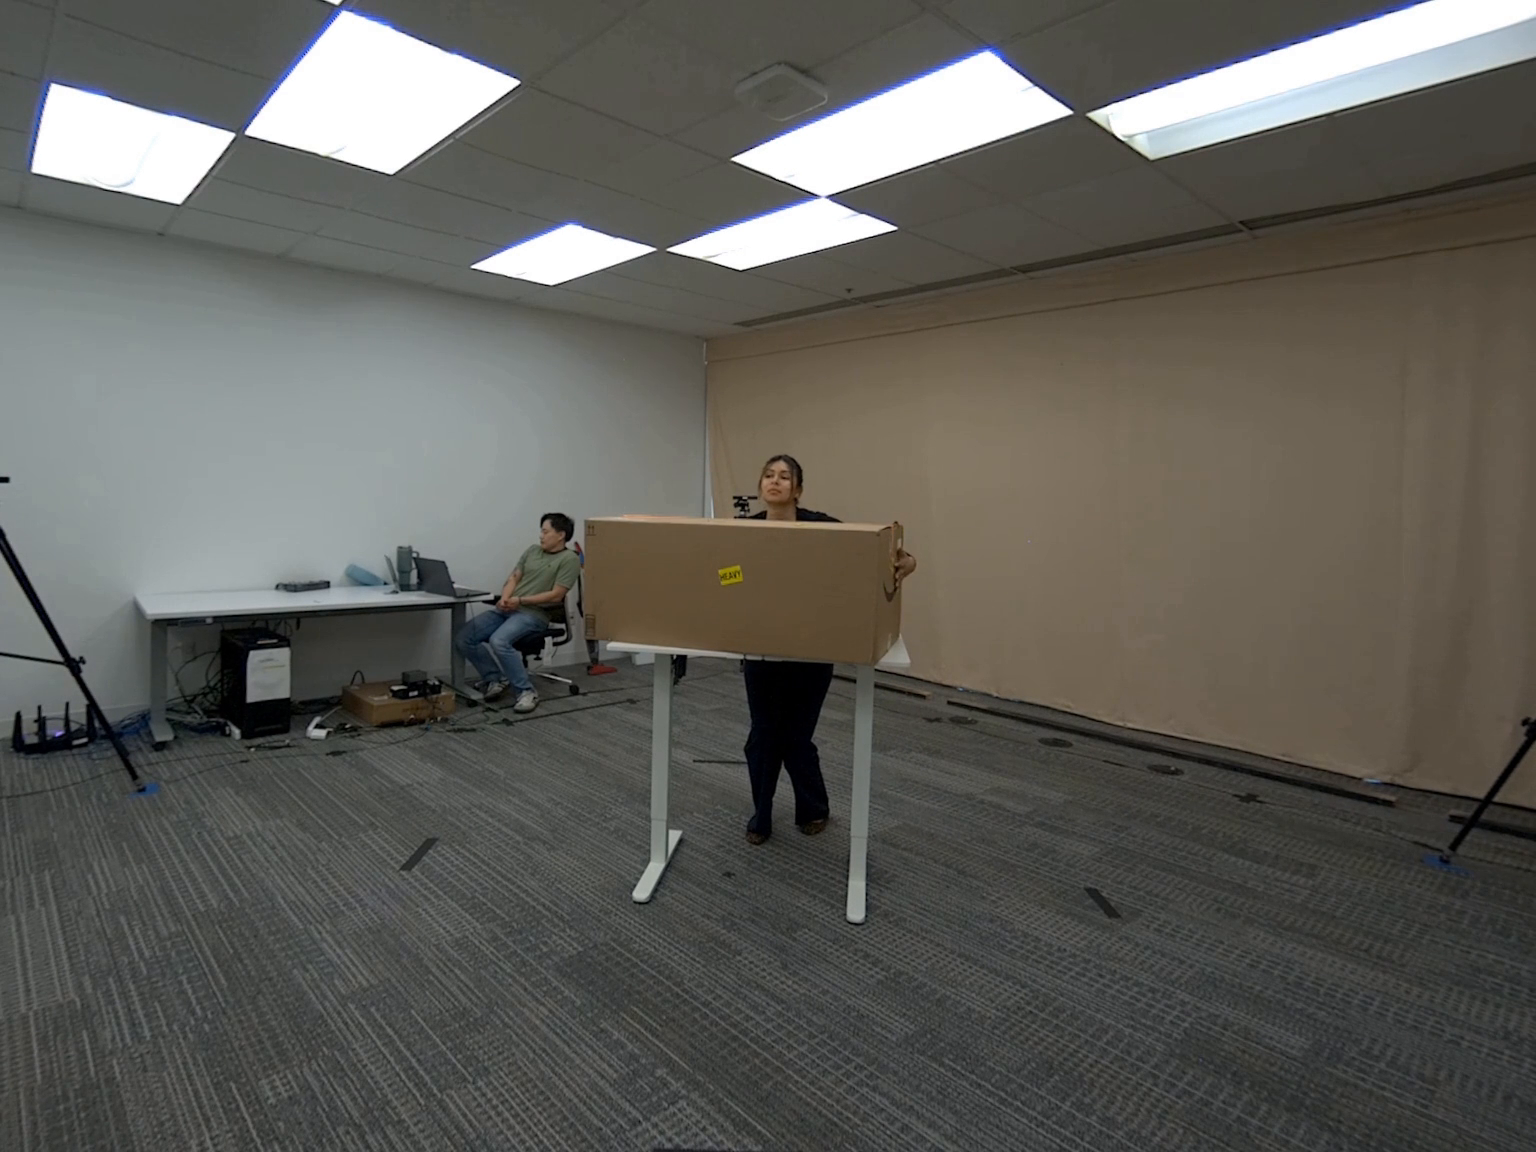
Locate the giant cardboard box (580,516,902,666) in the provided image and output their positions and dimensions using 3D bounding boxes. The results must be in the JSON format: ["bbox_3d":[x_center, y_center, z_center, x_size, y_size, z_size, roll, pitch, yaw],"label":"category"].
[{"bbox_3d":[-0.076,0.015,3.025,1.042,0.425,0.570,4,6,19],"label":"giant cardboard box"}]
